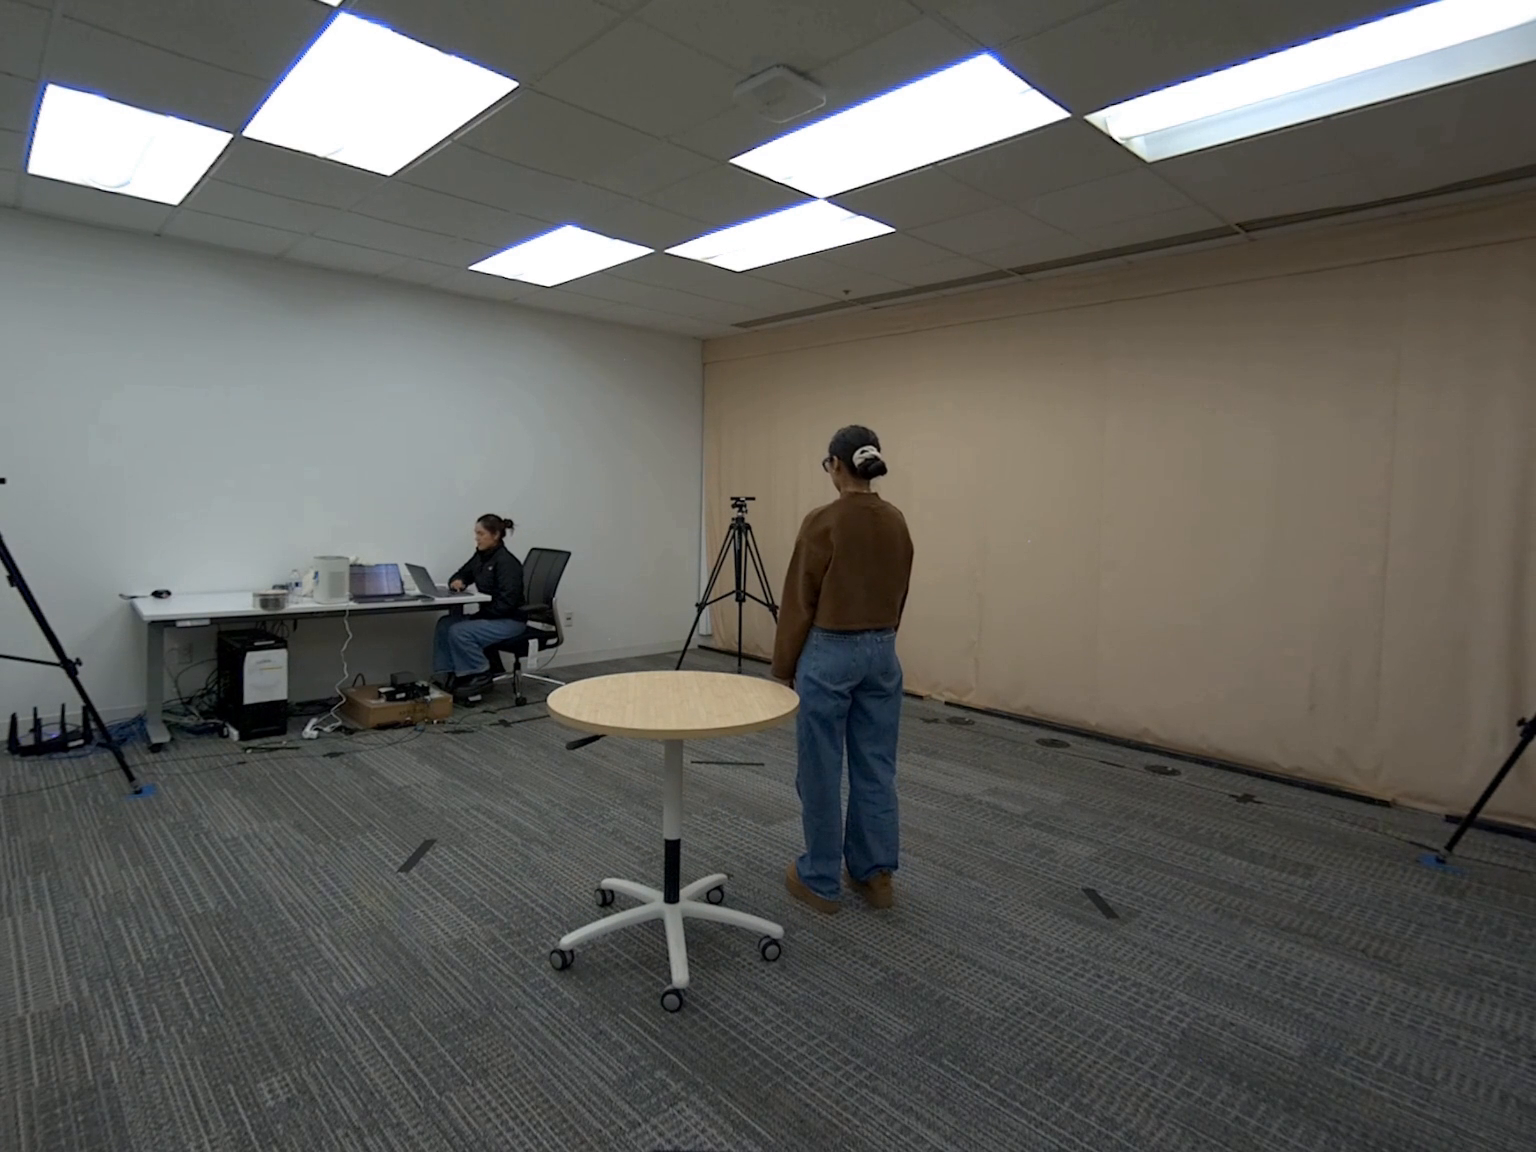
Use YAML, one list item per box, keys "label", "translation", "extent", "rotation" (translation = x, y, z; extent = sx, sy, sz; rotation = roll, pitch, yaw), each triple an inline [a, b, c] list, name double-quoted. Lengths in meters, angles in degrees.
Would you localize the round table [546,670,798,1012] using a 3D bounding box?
- label: "round table"
  translation: [-0.299, 0.762, 2.593]
  extent: [0.763, 0.792, 0.766]
  rotation: [1, 4, -1]
